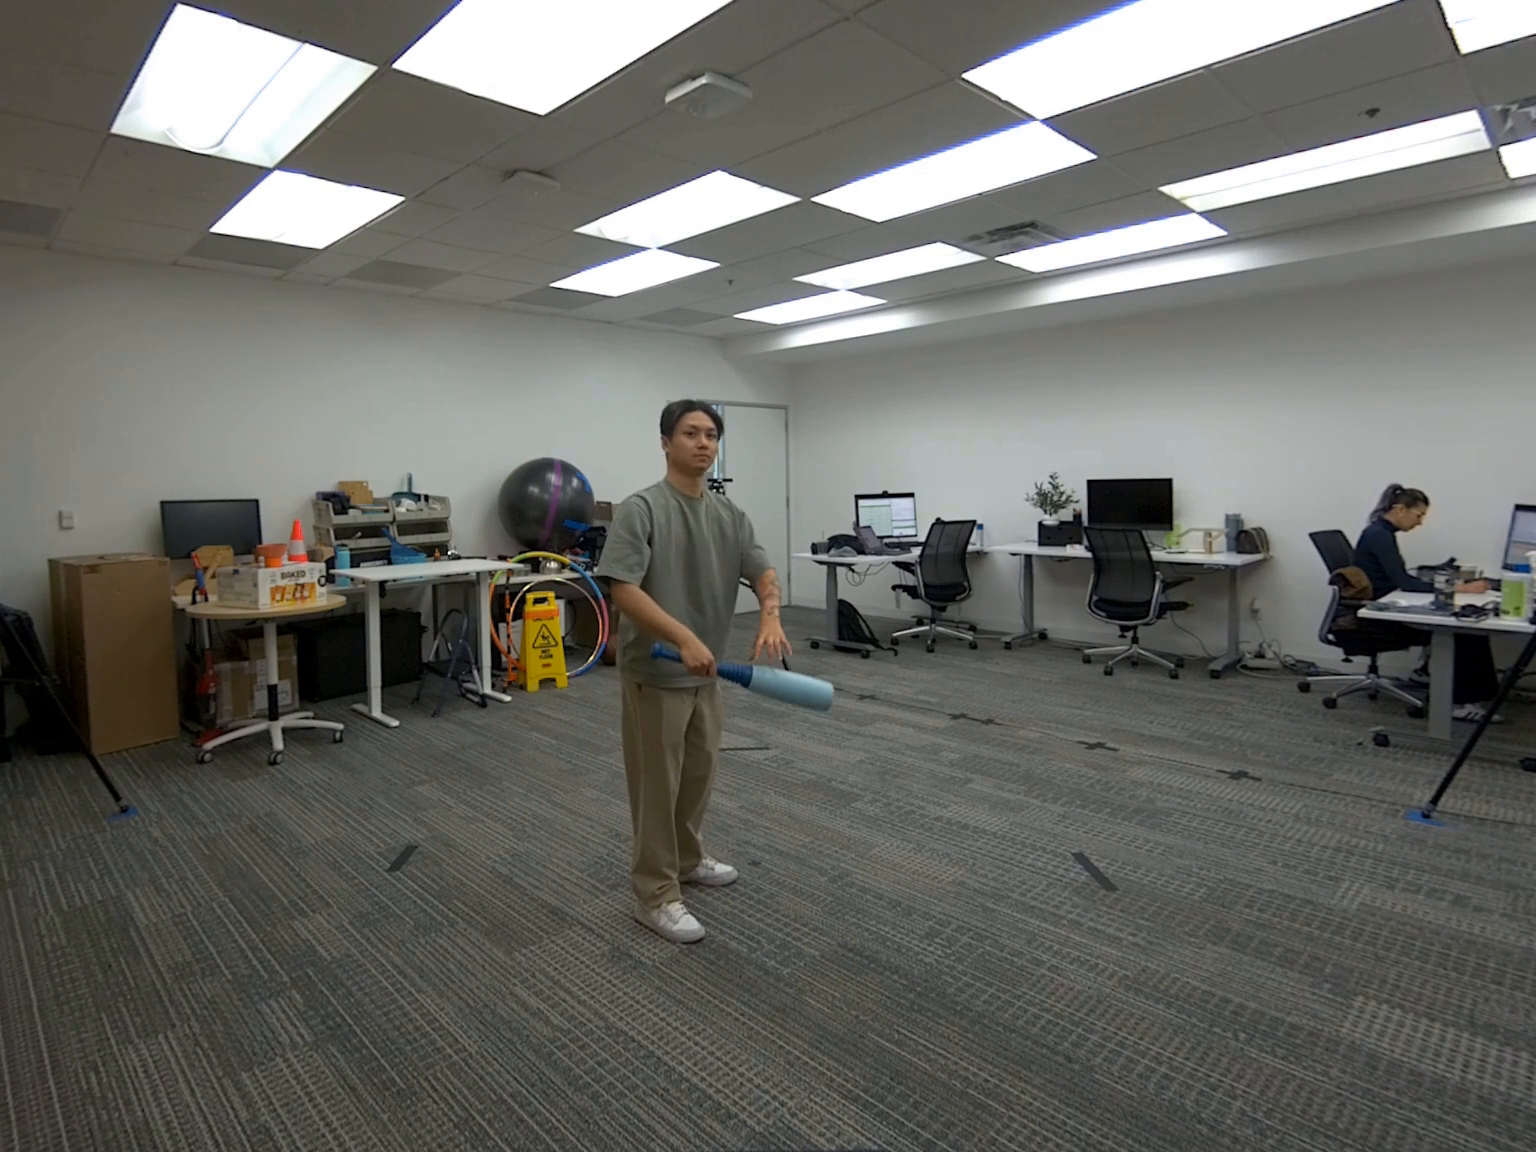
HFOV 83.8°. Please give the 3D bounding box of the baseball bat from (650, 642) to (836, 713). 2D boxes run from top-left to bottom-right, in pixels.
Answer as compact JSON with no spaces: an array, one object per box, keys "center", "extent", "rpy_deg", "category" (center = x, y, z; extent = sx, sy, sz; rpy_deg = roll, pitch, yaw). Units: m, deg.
[{"center":[-0.079,0.288,2.444],"extent":[0.540,0.089,0.090],"rpy_deg":[14,3,-5],"category":"baseball bat"}]
